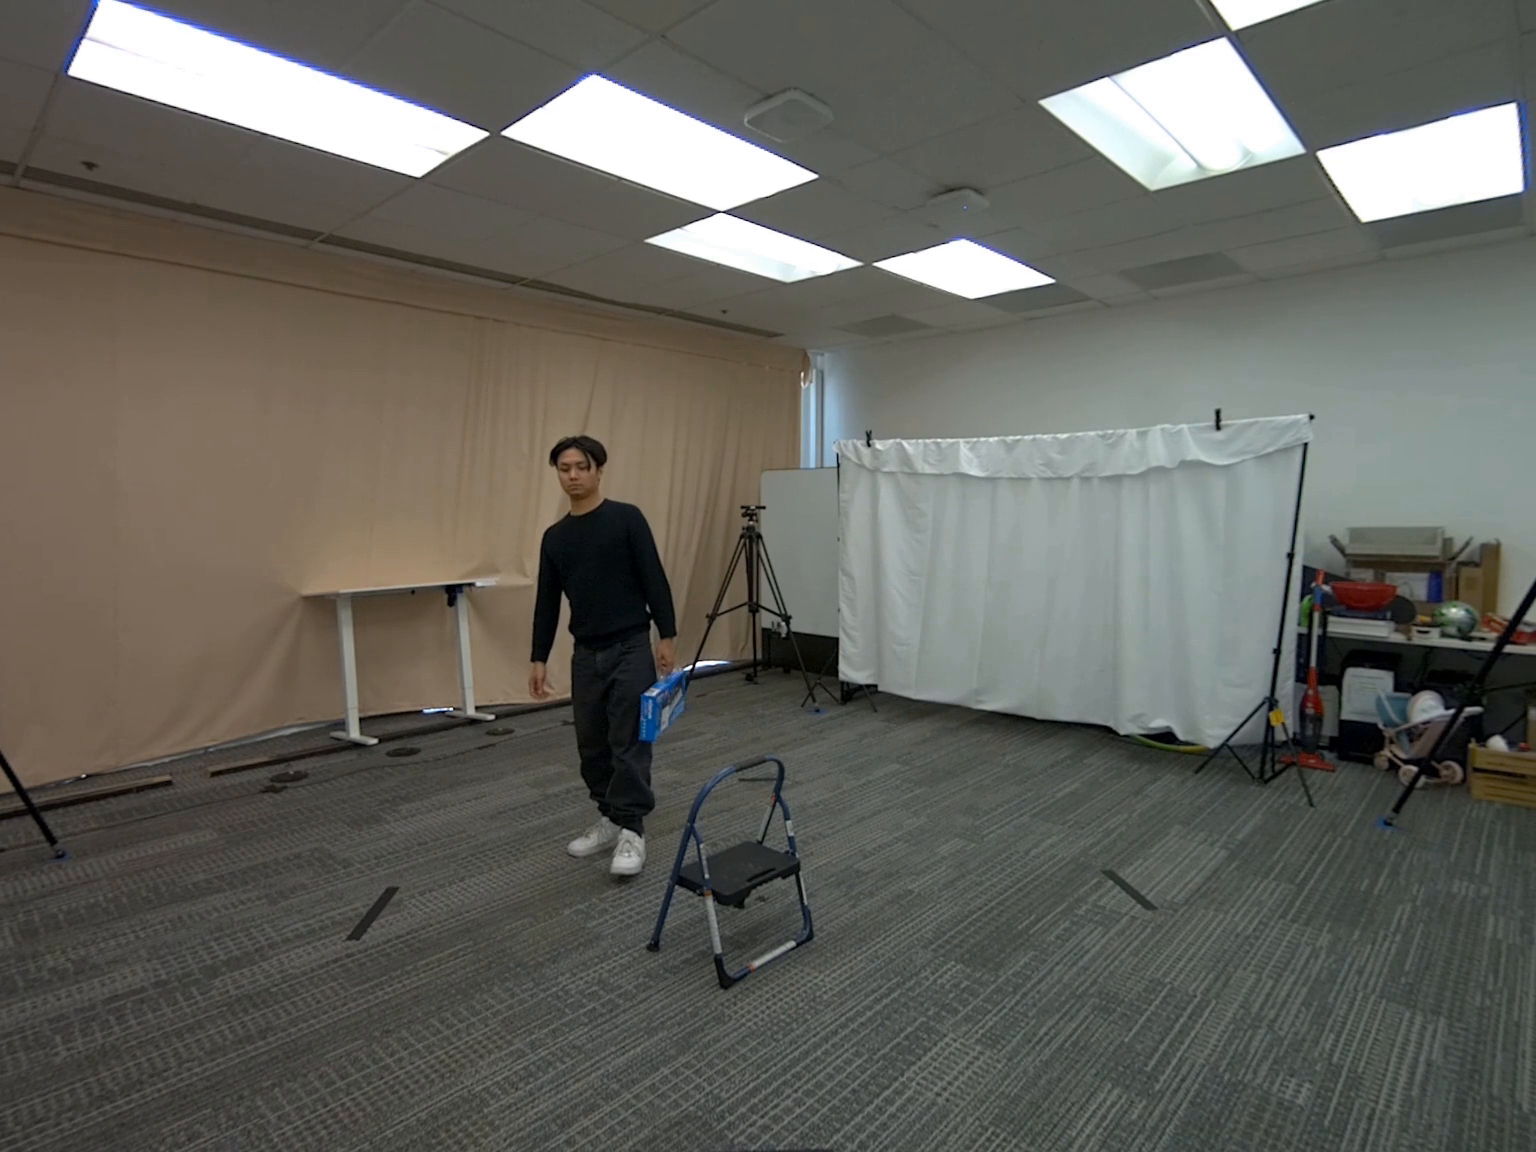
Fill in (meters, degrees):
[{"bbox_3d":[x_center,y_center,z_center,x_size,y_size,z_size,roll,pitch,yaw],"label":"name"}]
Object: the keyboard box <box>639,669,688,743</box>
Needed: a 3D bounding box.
[{"bbox_3d":[-0.404,0.503,3.327,0.060,0.175,0.433,5,6,8],"label":"keyboard box"}]
